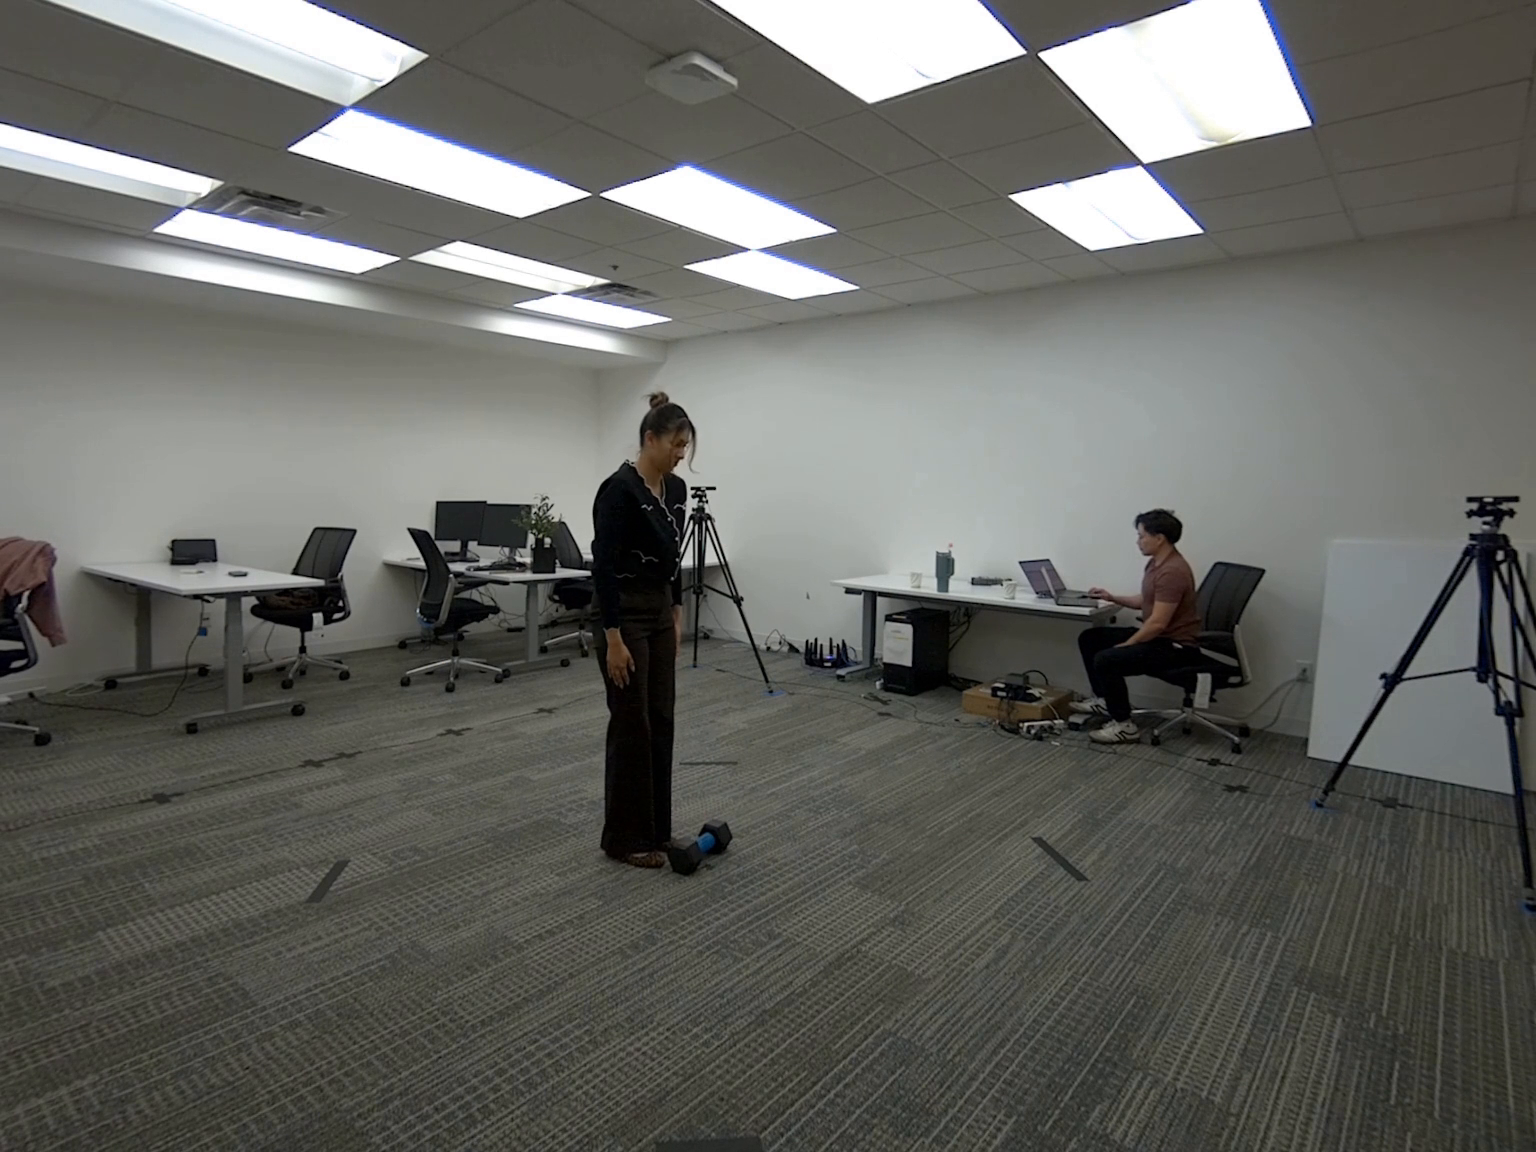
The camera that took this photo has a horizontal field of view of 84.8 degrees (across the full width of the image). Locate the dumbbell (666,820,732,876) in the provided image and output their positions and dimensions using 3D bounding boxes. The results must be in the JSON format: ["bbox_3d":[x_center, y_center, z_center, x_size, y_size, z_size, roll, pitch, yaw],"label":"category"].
[{"bbox_3d":[-0.263,1.009,3.167,0.126,0.108,0.286,5,6,28],"label":"dumbbell"}]
